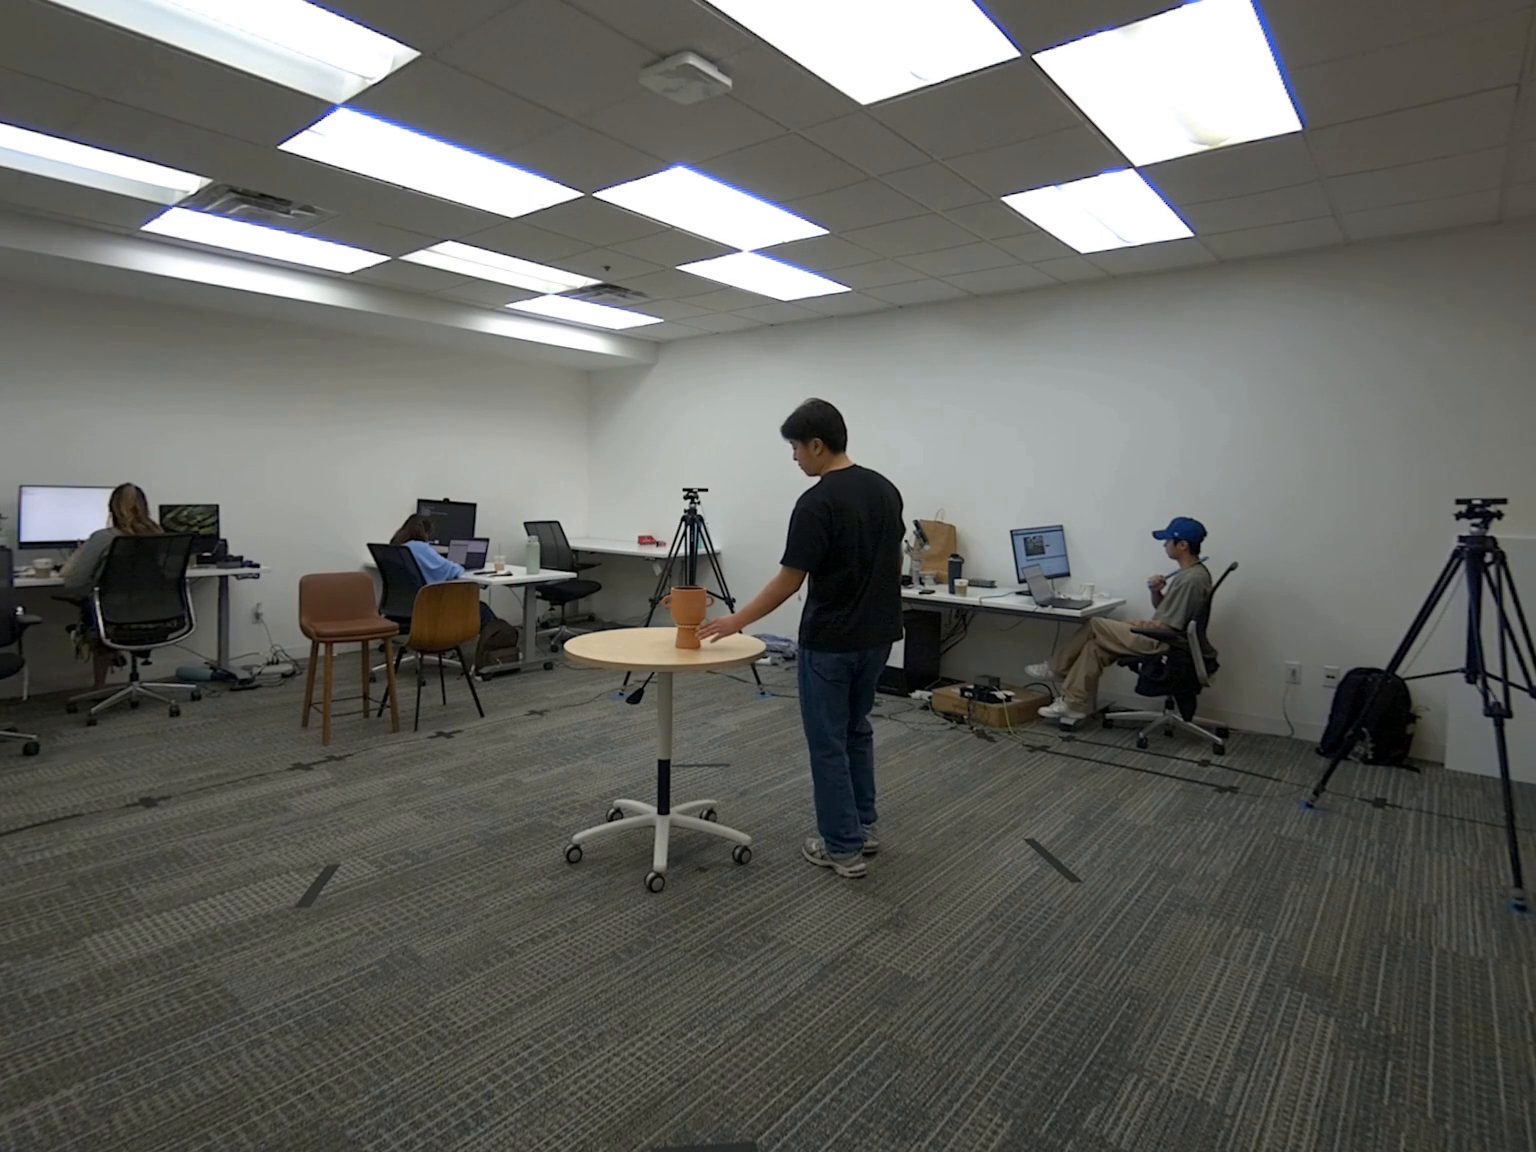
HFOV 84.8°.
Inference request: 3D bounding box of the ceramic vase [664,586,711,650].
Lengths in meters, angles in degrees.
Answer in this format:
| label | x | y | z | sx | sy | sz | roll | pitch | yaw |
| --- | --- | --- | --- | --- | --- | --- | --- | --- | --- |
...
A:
| label | x | y | z | sx | sy | sz | roll | pitch | yaw |
| --- | --- | --- | --- | --- | --- | --- | --- | --- | --- |
| ceramic vase | -0.311 | 0.151 | 3.196 | 0.163 | 0.219 | 0.132 | 4 | 5 | 22 |
